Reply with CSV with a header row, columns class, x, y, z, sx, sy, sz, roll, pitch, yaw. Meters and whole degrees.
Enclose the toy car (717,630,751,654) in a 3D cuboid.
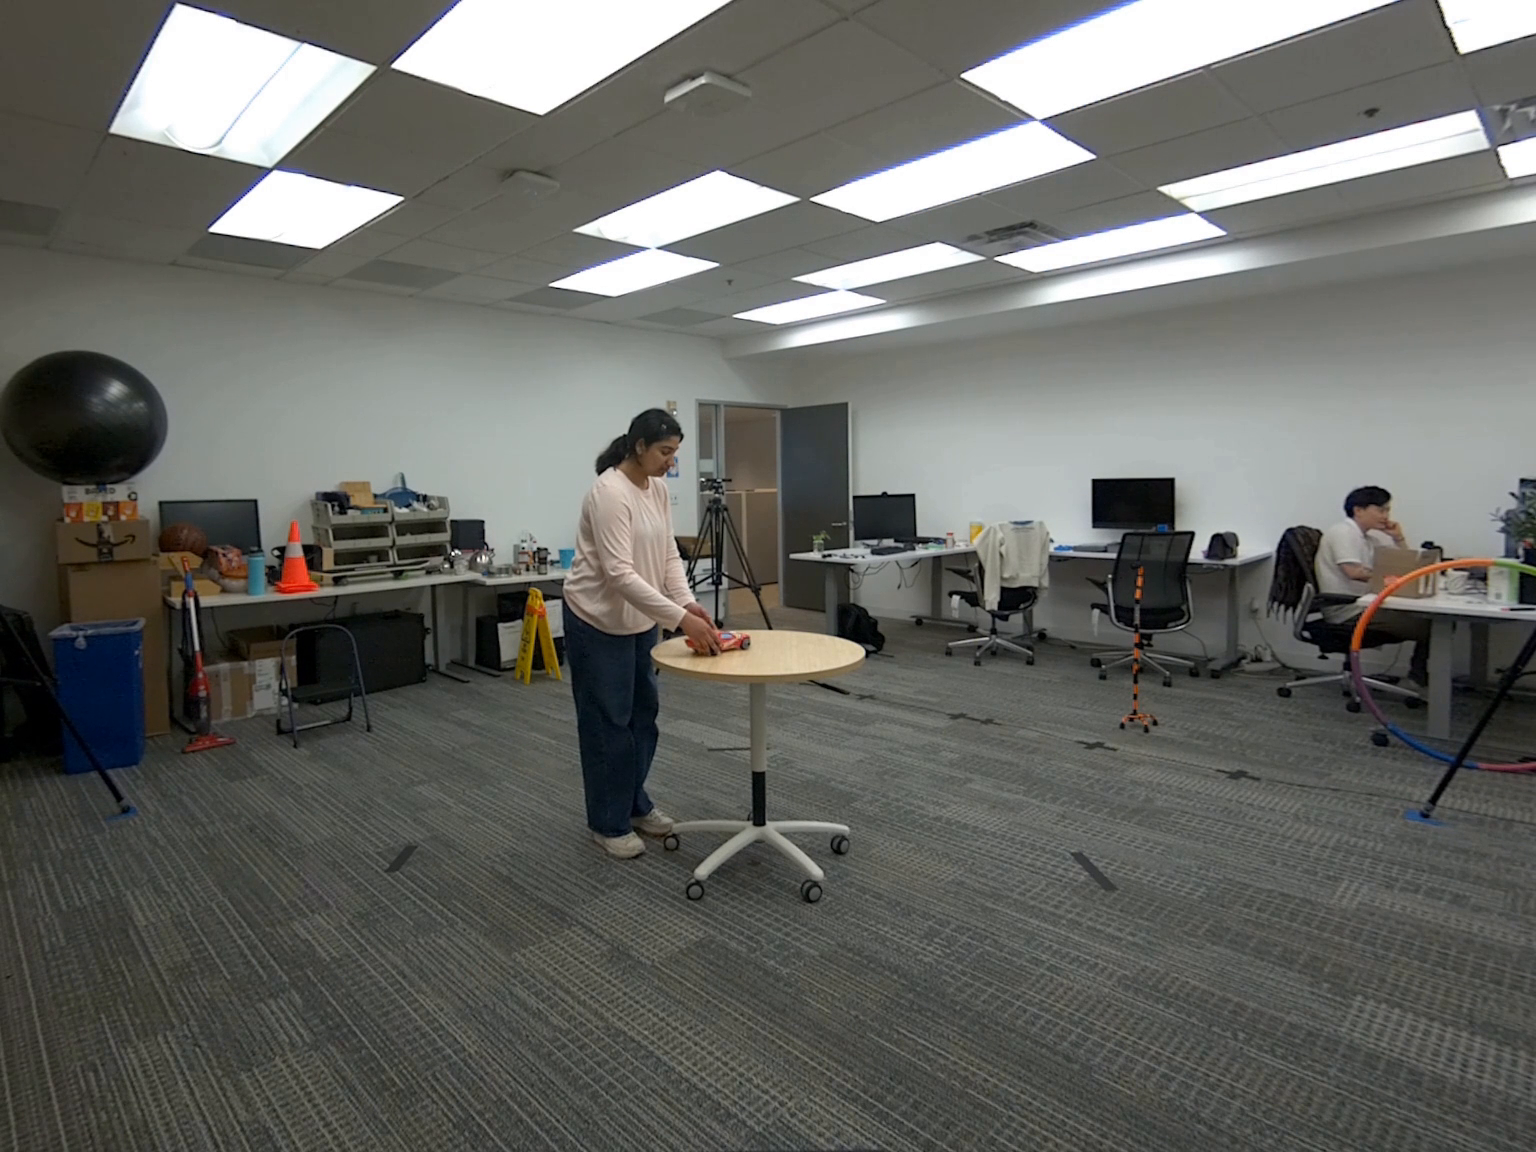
class,x,y,z,sx,sy,sz,roll,pitch,yaw
toy car,-0.177,0.237,3.031,0.247,0.083,0.134,7,1,-33
